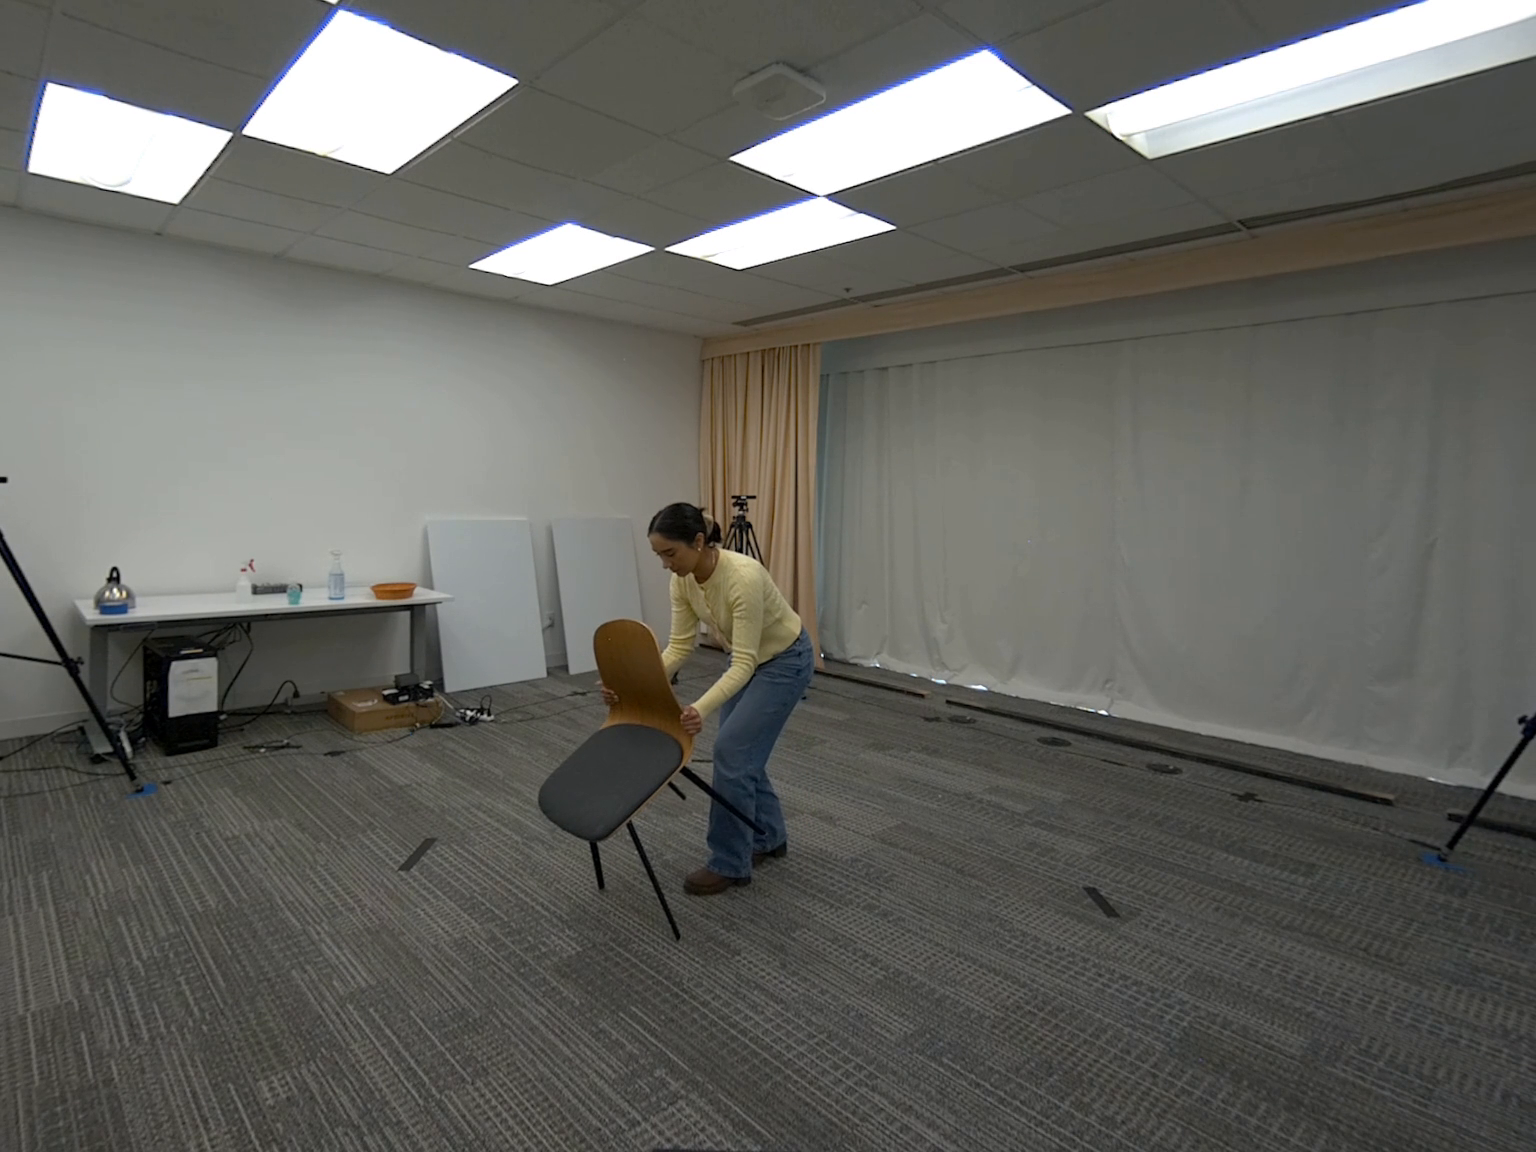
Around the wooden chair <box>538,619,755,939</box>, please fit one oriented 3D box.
[{"bbox_3d":[-0.463,0.651,2.736,0.490,0.859,0.520,6,34,47],"label":"wooden chair"}]
